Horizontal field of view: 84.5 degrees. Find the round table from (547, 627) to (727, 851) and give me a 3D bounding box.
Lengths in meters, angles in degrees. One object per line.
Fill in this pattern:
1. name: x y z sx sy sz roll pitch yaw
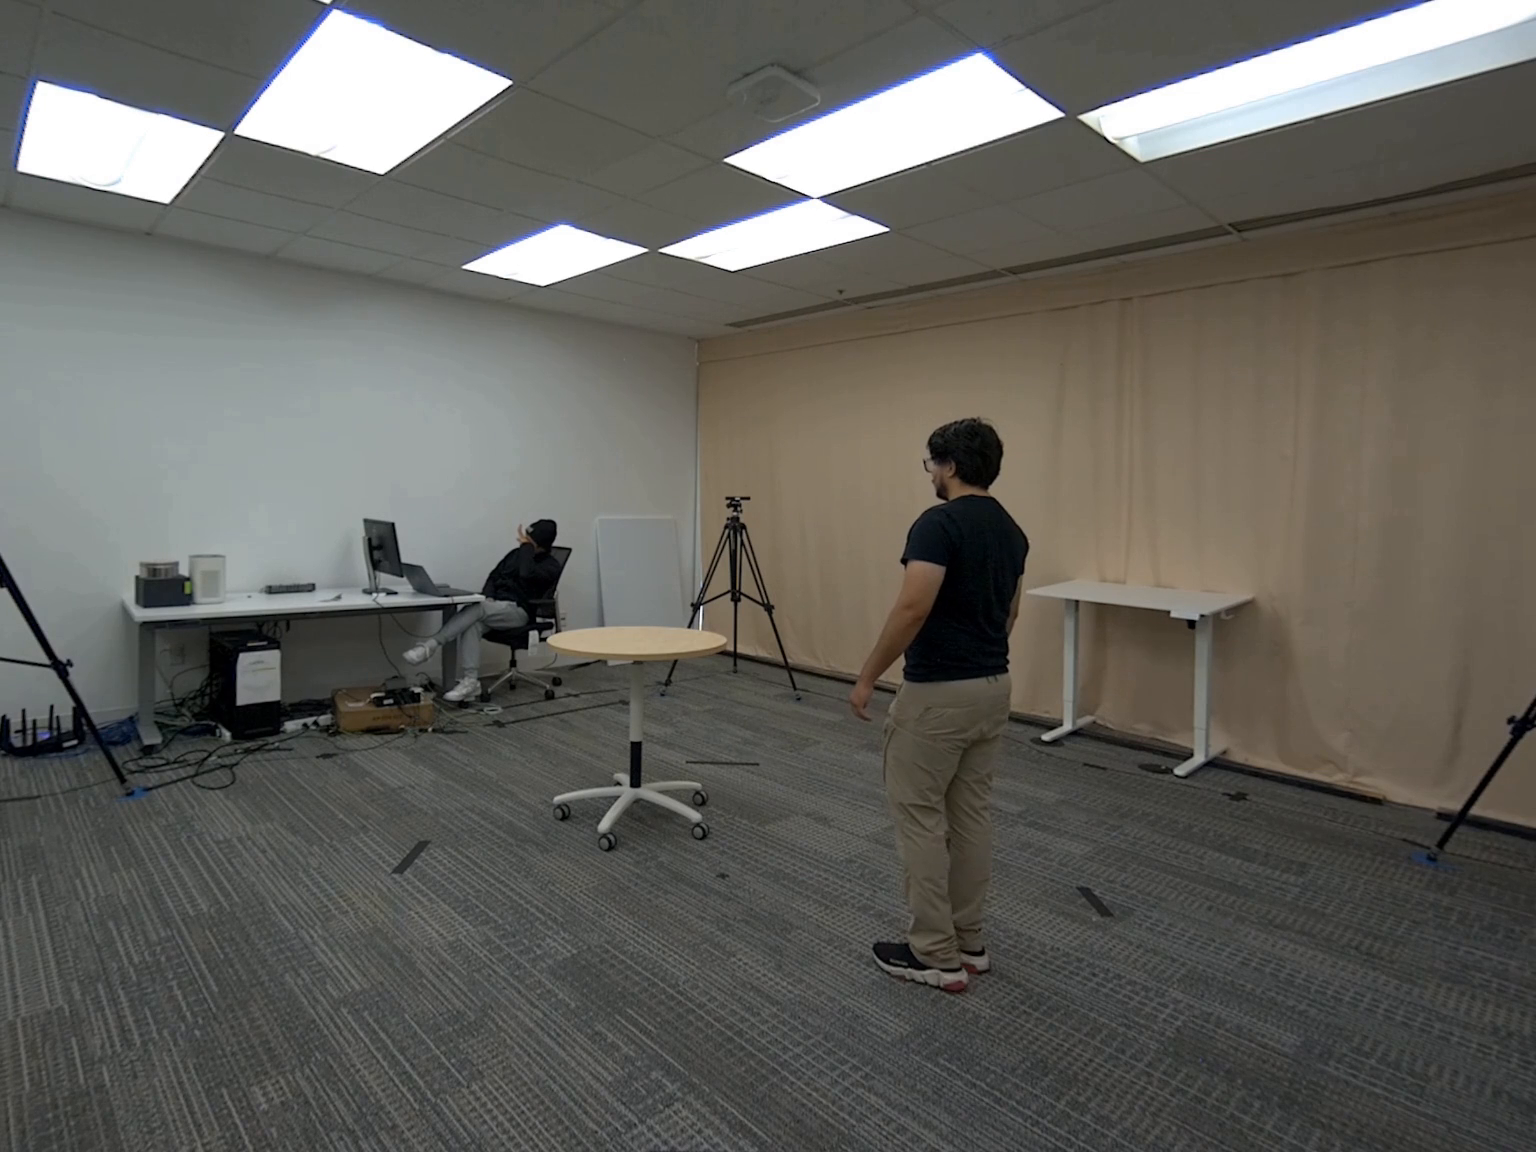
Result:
1. round table: -0.576 0.659 3.605 0.784 0.785 0.787 1 3 -1
